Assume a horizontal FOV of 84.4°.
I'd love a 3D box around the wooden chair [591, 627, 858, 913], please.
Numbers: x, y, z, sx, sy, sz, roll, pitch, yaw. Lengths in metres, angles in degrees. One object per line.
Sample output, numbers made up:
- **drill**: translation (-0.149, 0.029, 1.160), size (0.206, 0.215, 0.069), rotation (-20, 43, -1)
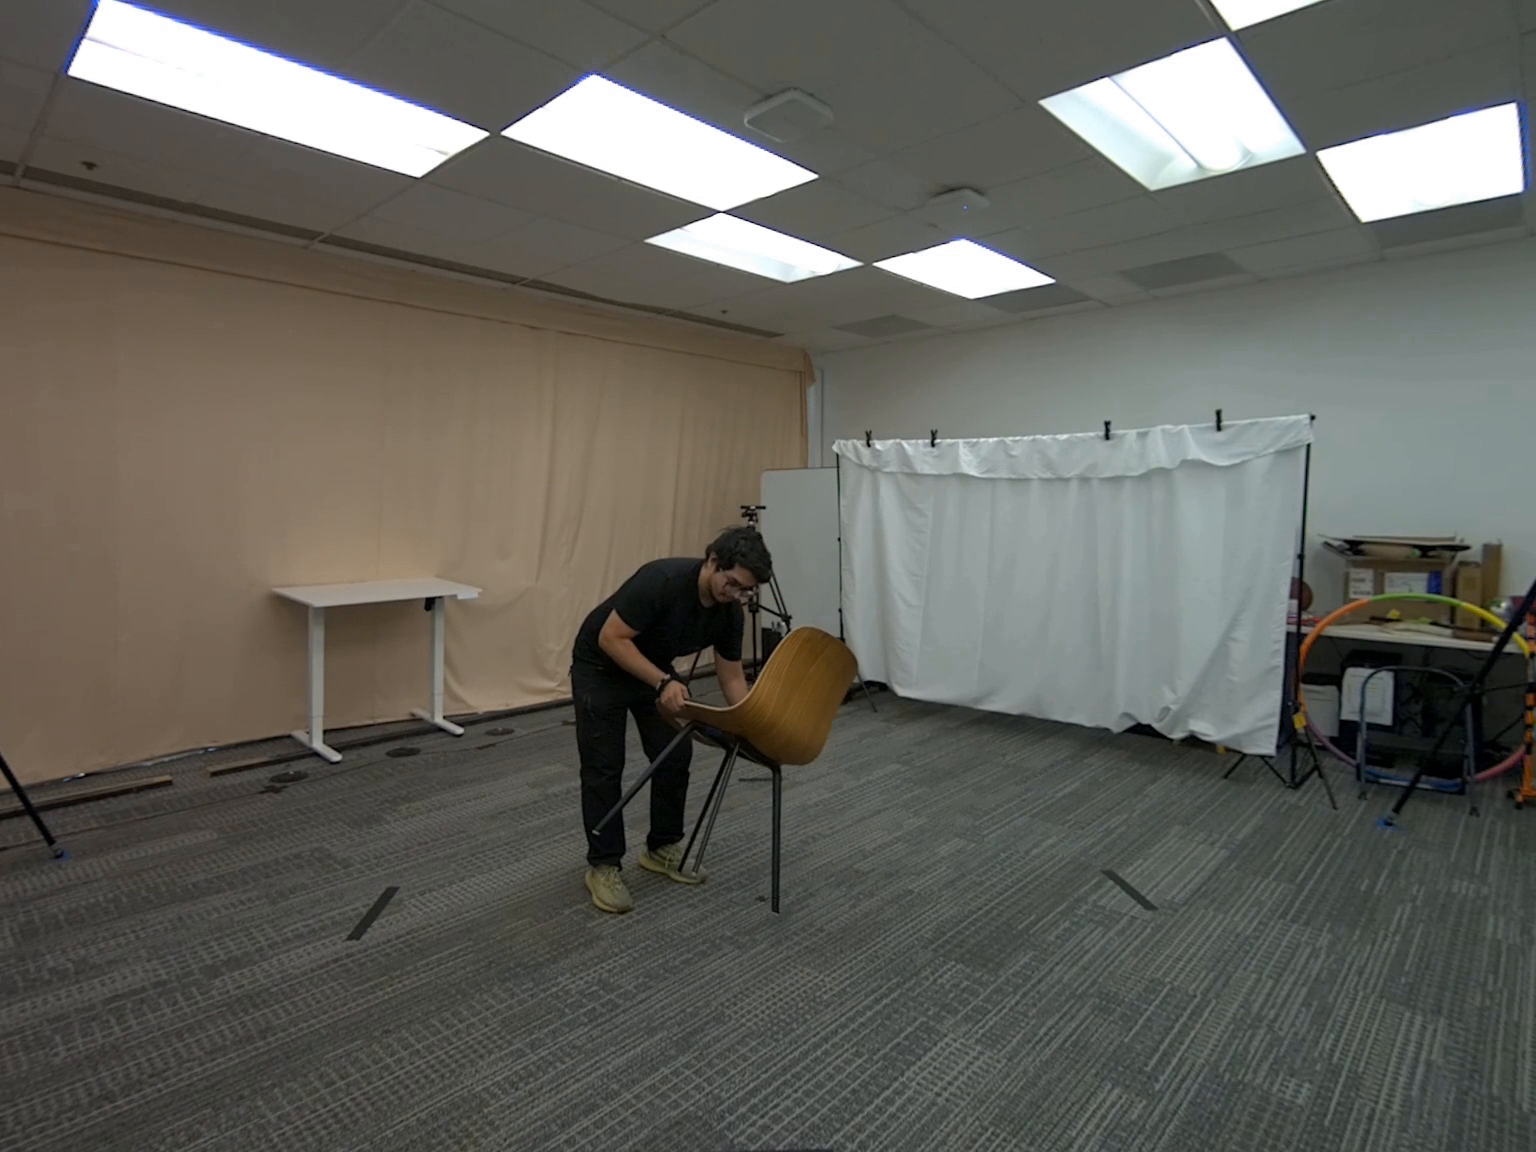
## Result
- **wooden chair**: translation (-0.106, 0.573, 2.817), size (0.541, 0.878, 0.461), rotation (7, -25, 44)
